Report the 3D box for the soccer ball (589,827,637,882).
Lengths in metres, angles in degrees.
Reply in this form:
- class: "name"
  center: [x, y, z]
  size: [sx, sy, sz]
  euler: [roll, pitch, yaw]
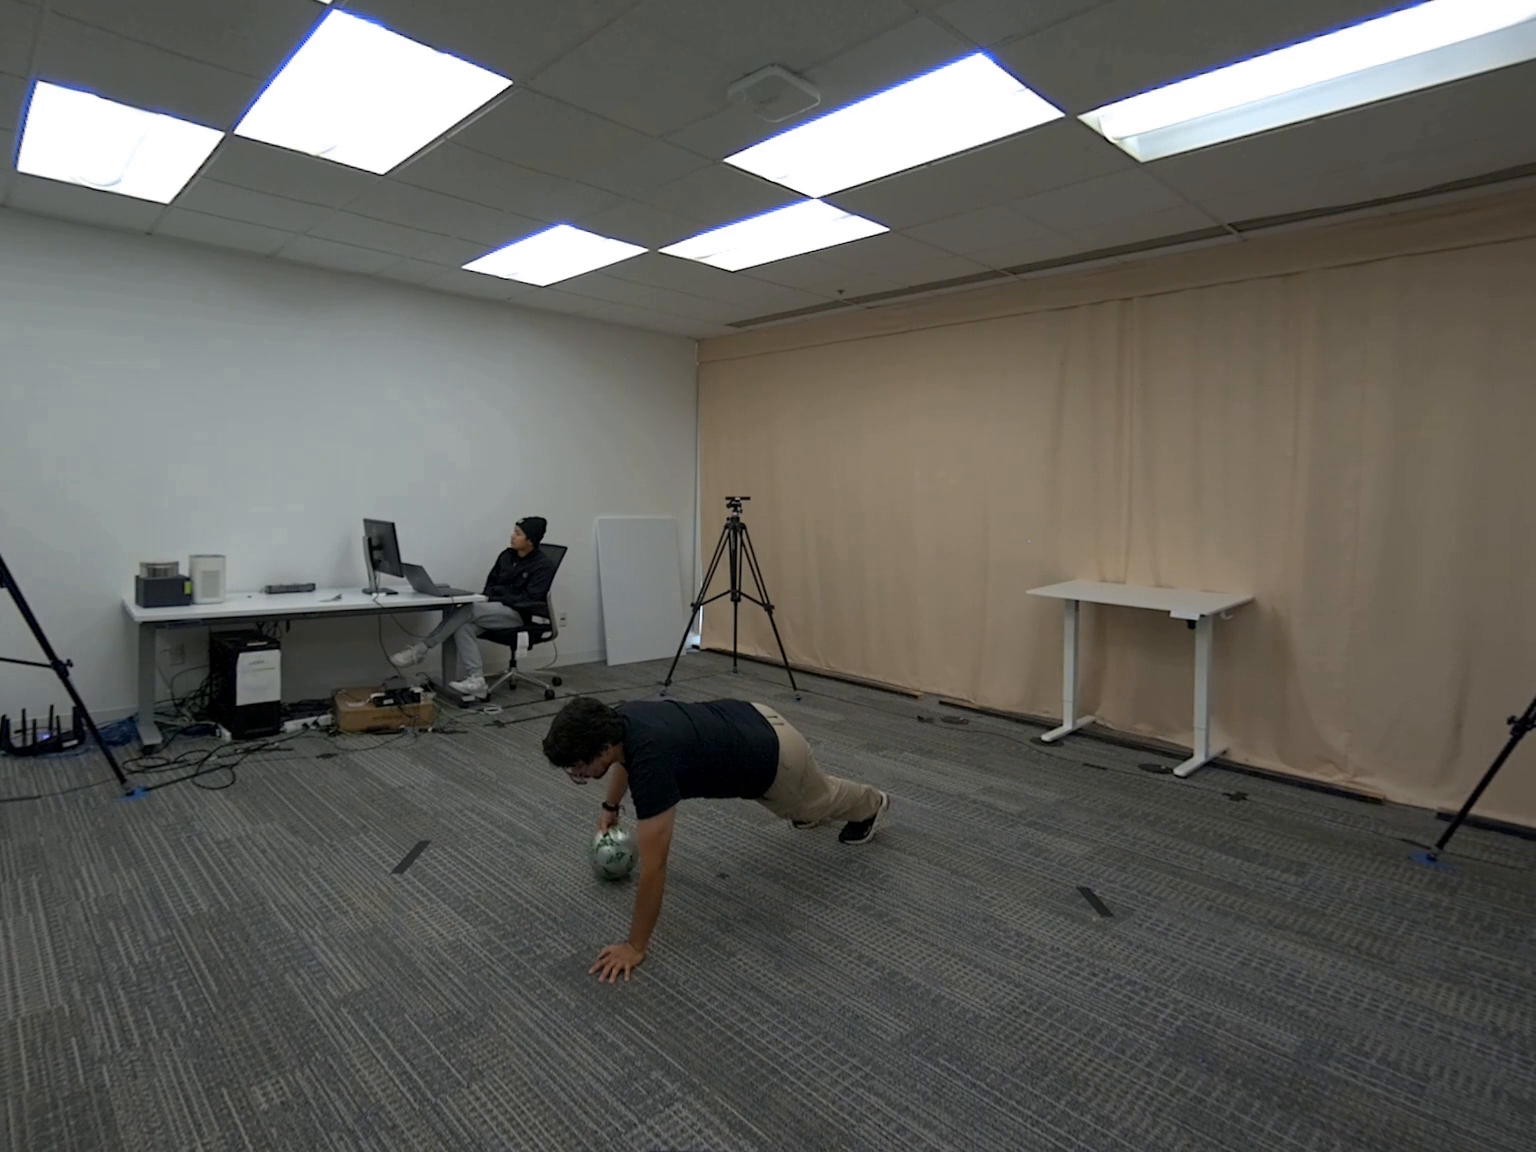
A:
- class: "soccer ball"
  center: [-0.554, 1.001, 3.062]
  size: [0.187, 0.187, 0.188]
  euler: [1, 4, -1]
